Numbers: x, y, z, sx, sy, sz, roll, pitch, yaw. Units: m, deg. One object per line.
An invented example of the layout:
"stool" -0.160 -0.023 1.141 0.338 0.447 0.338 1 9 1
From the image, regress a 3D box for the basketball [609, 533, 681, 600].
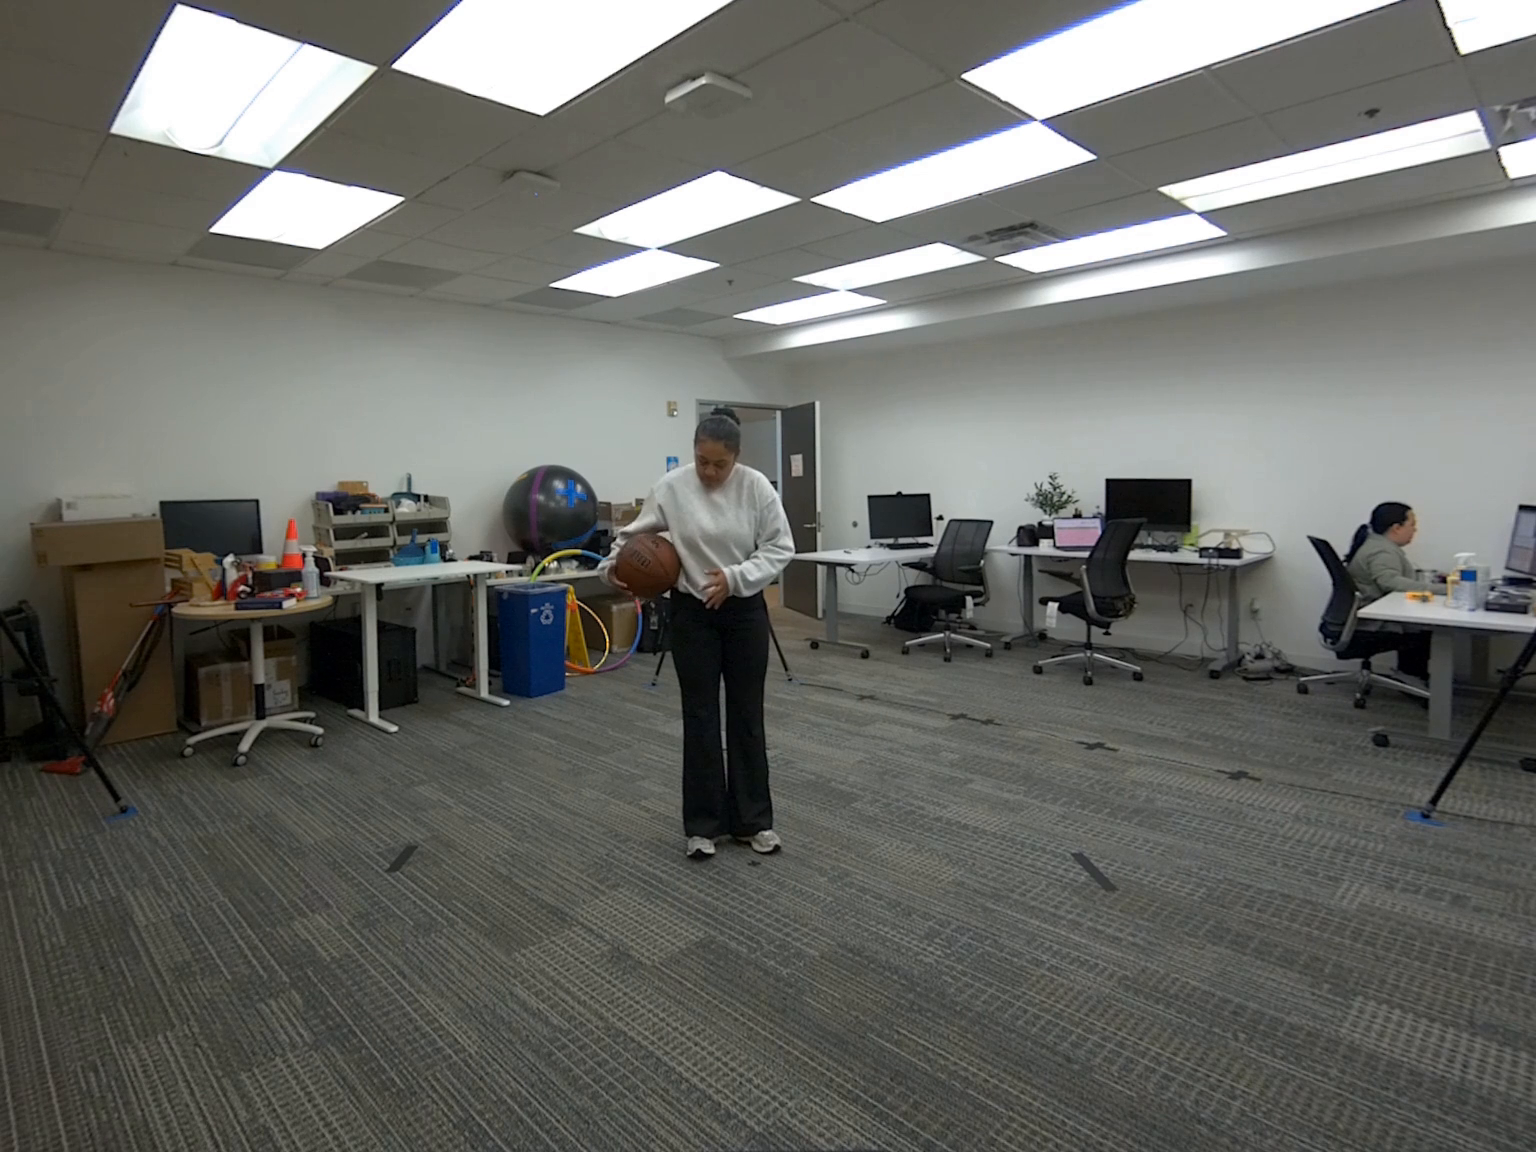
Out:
"basketball" -0.434 -0.036 3.153 0.236 0.235 0.237 -1 5 -2
